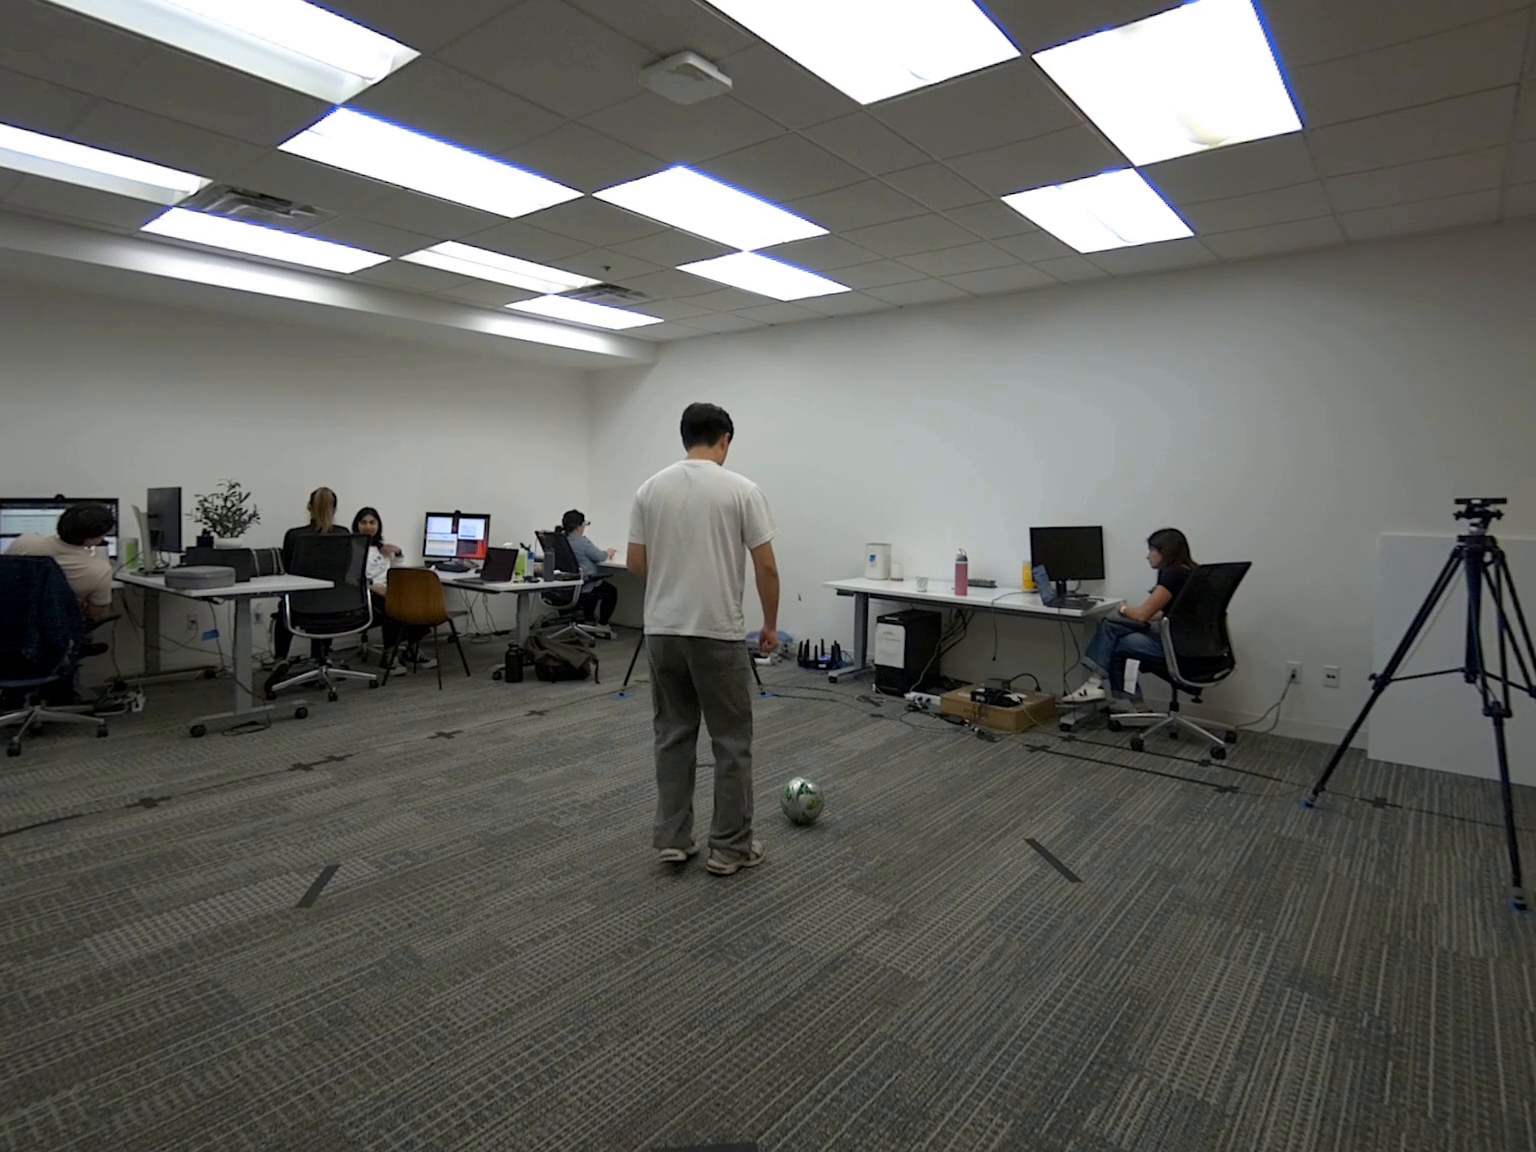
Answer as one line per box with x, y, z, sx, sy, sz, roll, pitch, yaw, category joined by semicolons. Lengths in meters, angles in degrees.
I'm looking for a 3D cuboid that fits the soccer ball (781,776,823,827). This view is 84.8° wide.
0.146;0.930;3.574;0.187;0.187;0.188;1;4;-2;soccer ball
